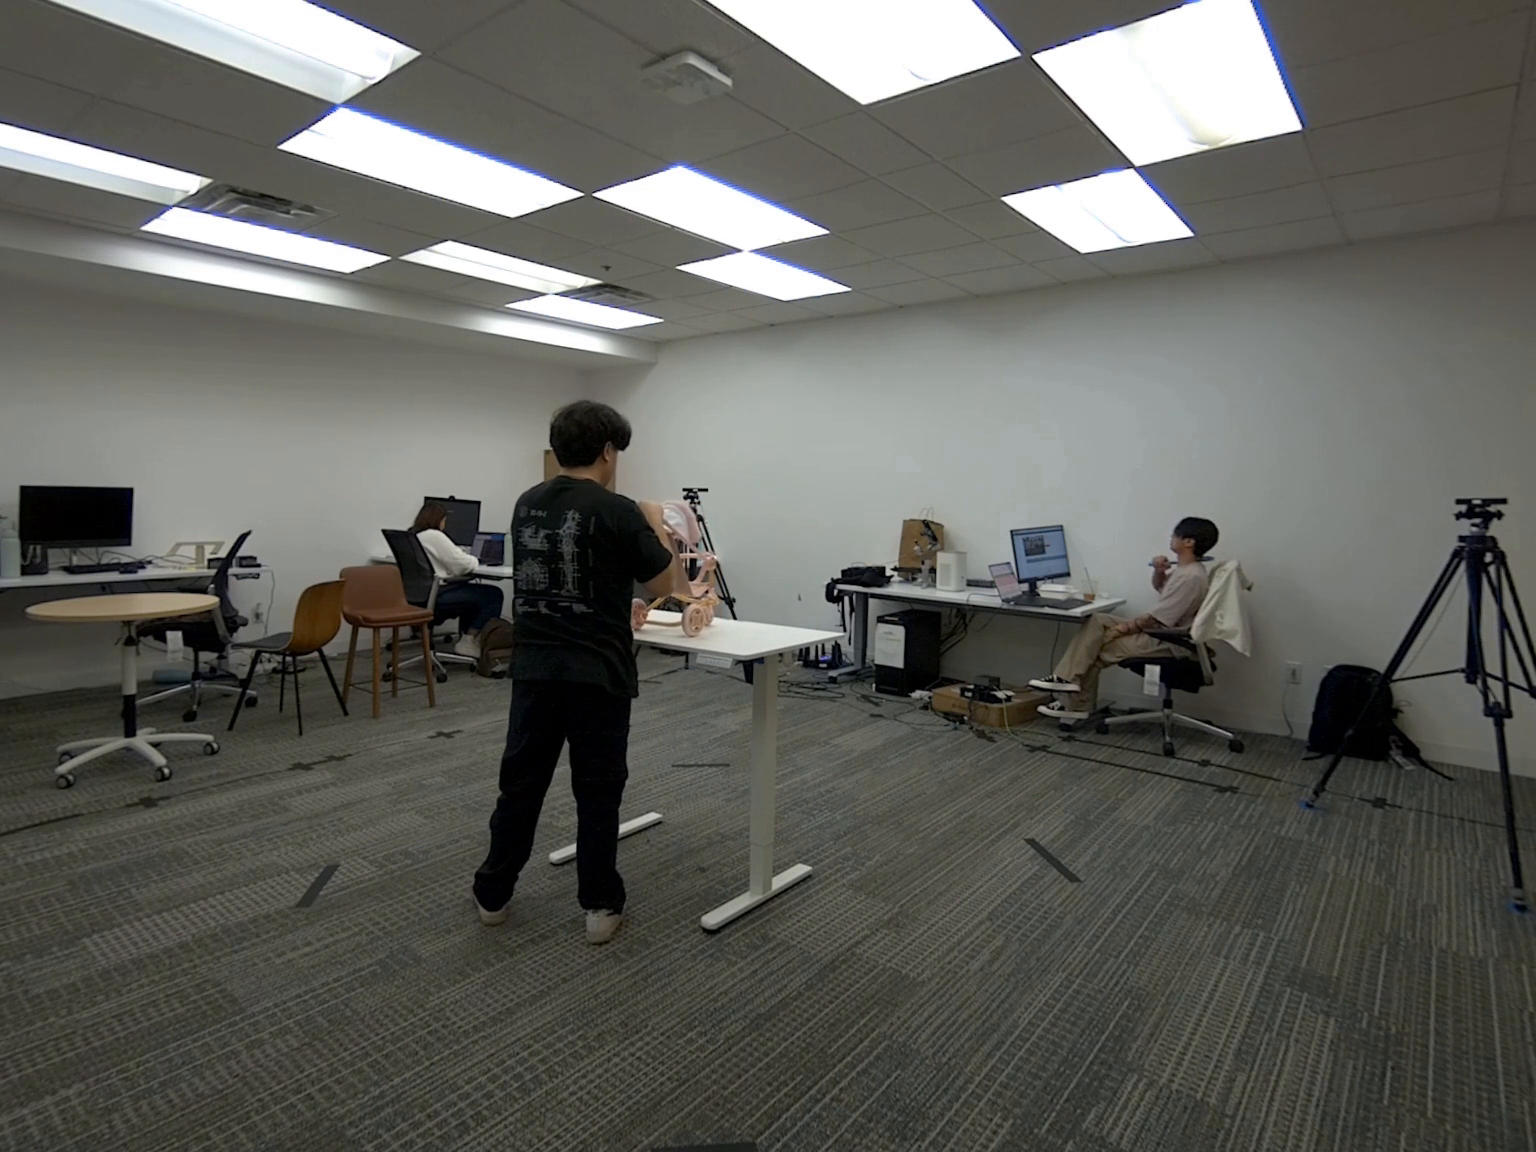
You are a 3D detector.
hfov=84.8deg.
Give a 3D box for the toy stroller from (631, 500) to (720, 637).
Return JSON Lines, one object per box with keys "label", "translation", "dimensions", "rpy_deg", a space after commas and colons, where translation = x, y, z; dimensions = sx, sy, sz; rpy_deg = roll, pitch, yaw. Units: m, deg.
{"label": "toy stroller", "translation": [-0.331, -0.030, 3.010], "dimensions": [0.290, 0.527, 0.336], "rpy_deg": [3, 18, 36]}
